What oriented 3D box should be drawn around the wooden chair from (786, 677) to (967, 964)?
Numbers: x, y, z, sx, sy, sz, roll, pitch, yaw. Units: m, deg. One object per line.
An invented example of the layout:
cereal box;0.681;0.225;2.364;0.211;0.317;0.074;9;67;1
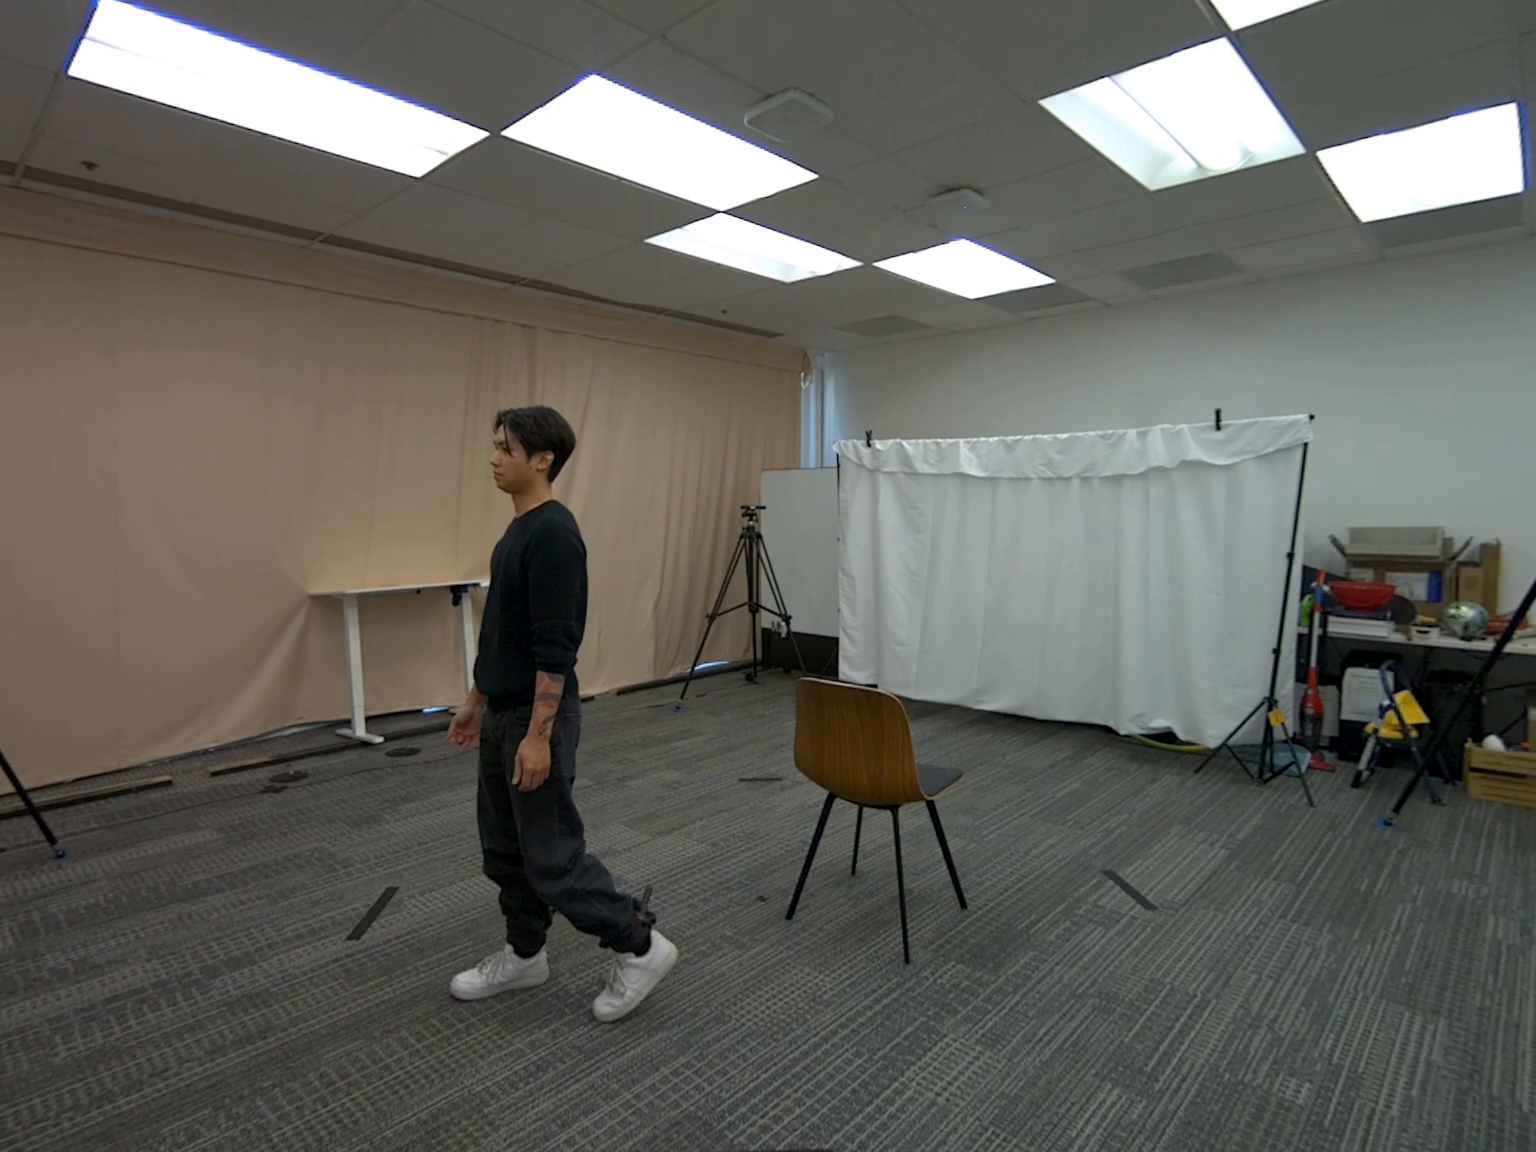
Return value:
wooden chair;0.379;0.724;2.842;0.493;0.873;0.509;2;8;37
